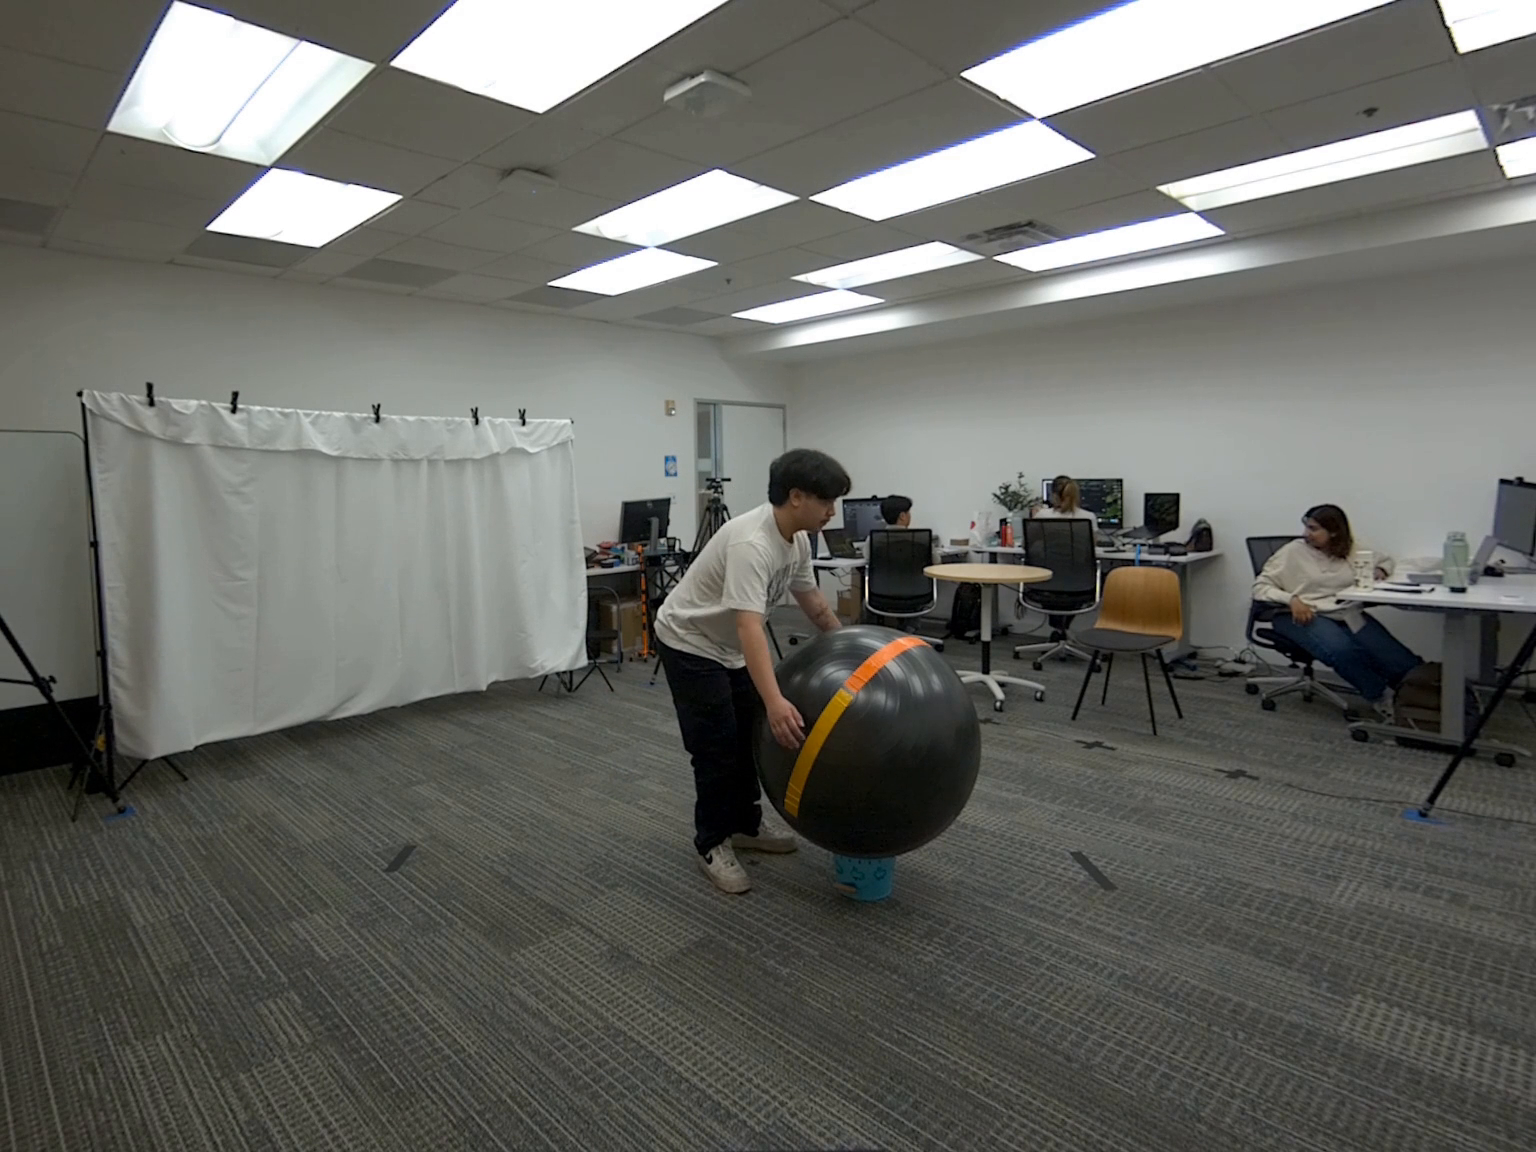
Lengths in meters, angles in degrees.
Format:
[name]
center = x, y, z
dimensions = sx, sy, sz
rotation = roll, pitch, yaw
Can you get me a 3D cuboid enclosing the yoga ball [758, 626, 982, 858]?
[yoga ball]
center = 0.326, 0.550, 2.875
dimensions = 0.757, 0.755, 0.762
rotation = -1, 5, -2
